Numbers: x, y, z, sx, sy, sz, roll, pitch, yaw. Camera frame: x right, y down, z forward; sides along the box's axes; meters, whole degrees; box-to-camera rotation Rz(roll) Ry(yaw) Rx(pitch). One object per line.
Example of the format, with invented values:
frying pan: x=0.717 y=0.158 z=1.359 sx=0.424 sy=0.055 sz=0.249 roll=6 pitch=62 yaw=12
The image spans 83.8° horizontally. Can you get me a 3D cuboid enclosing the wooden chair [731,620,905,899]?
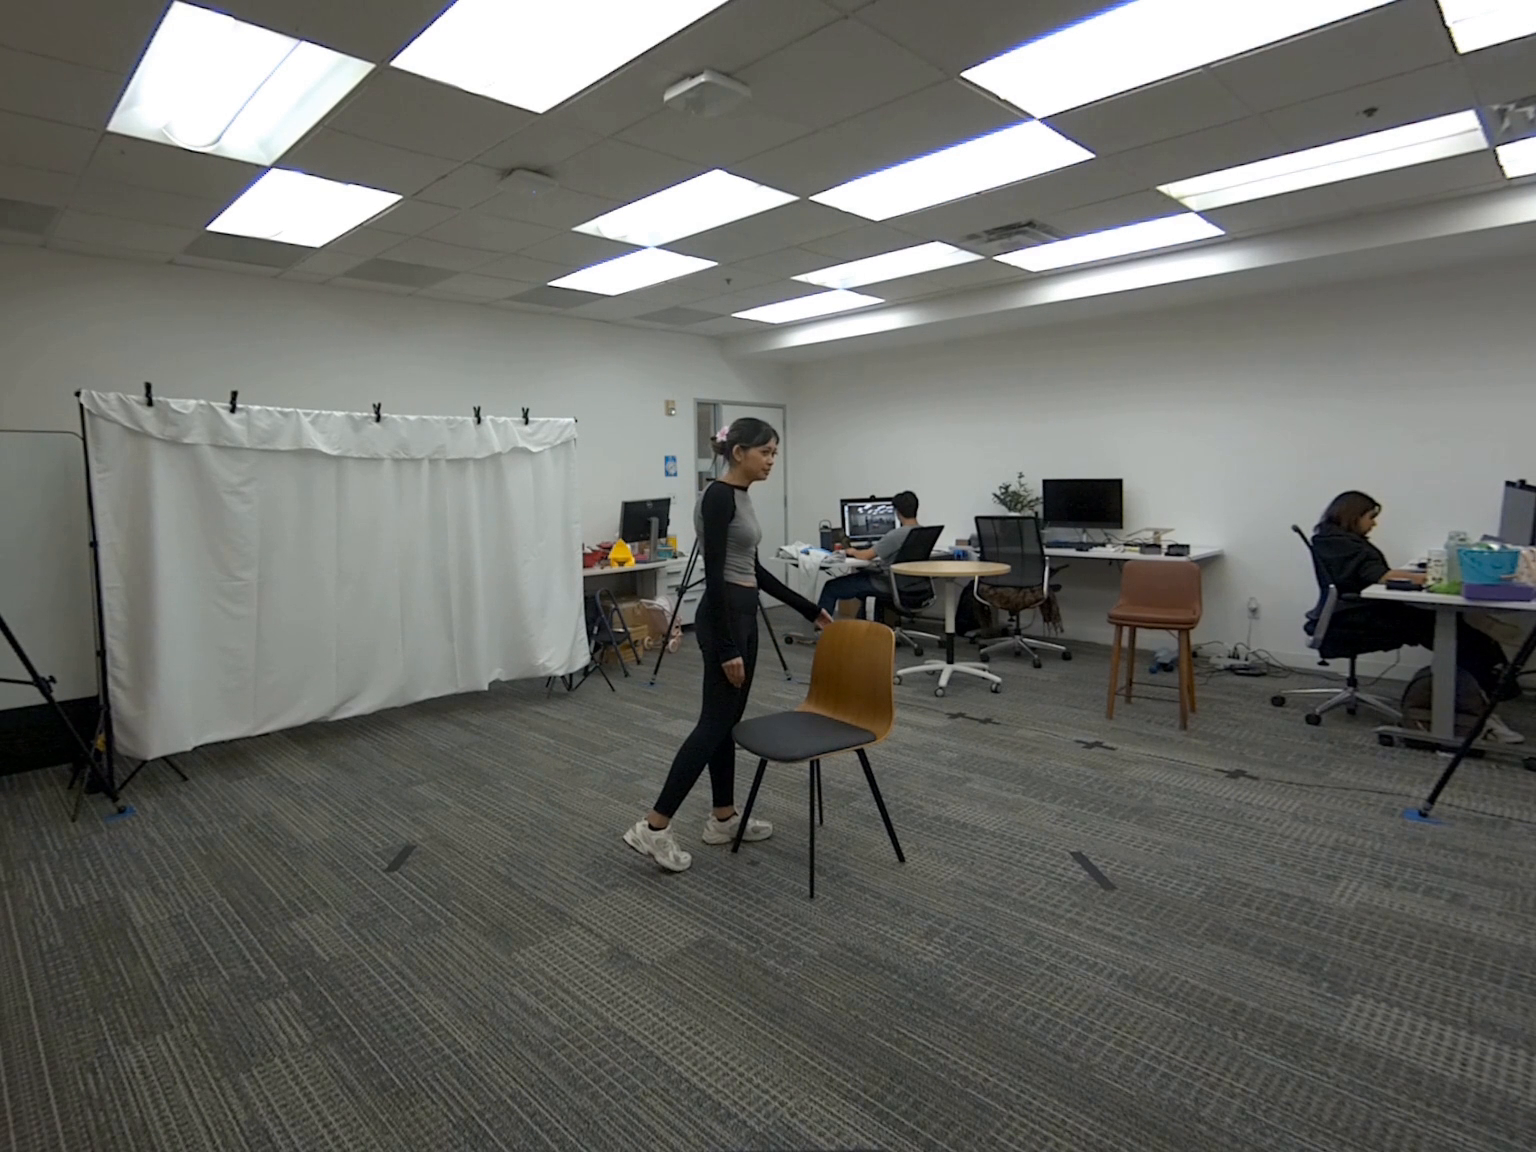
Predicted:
wooden chair: x=0.171 y=0.608 z=3.101 sx=0.508 sy=0.876 sz=0.492 roll=1 pitch=2 yaw=-37
